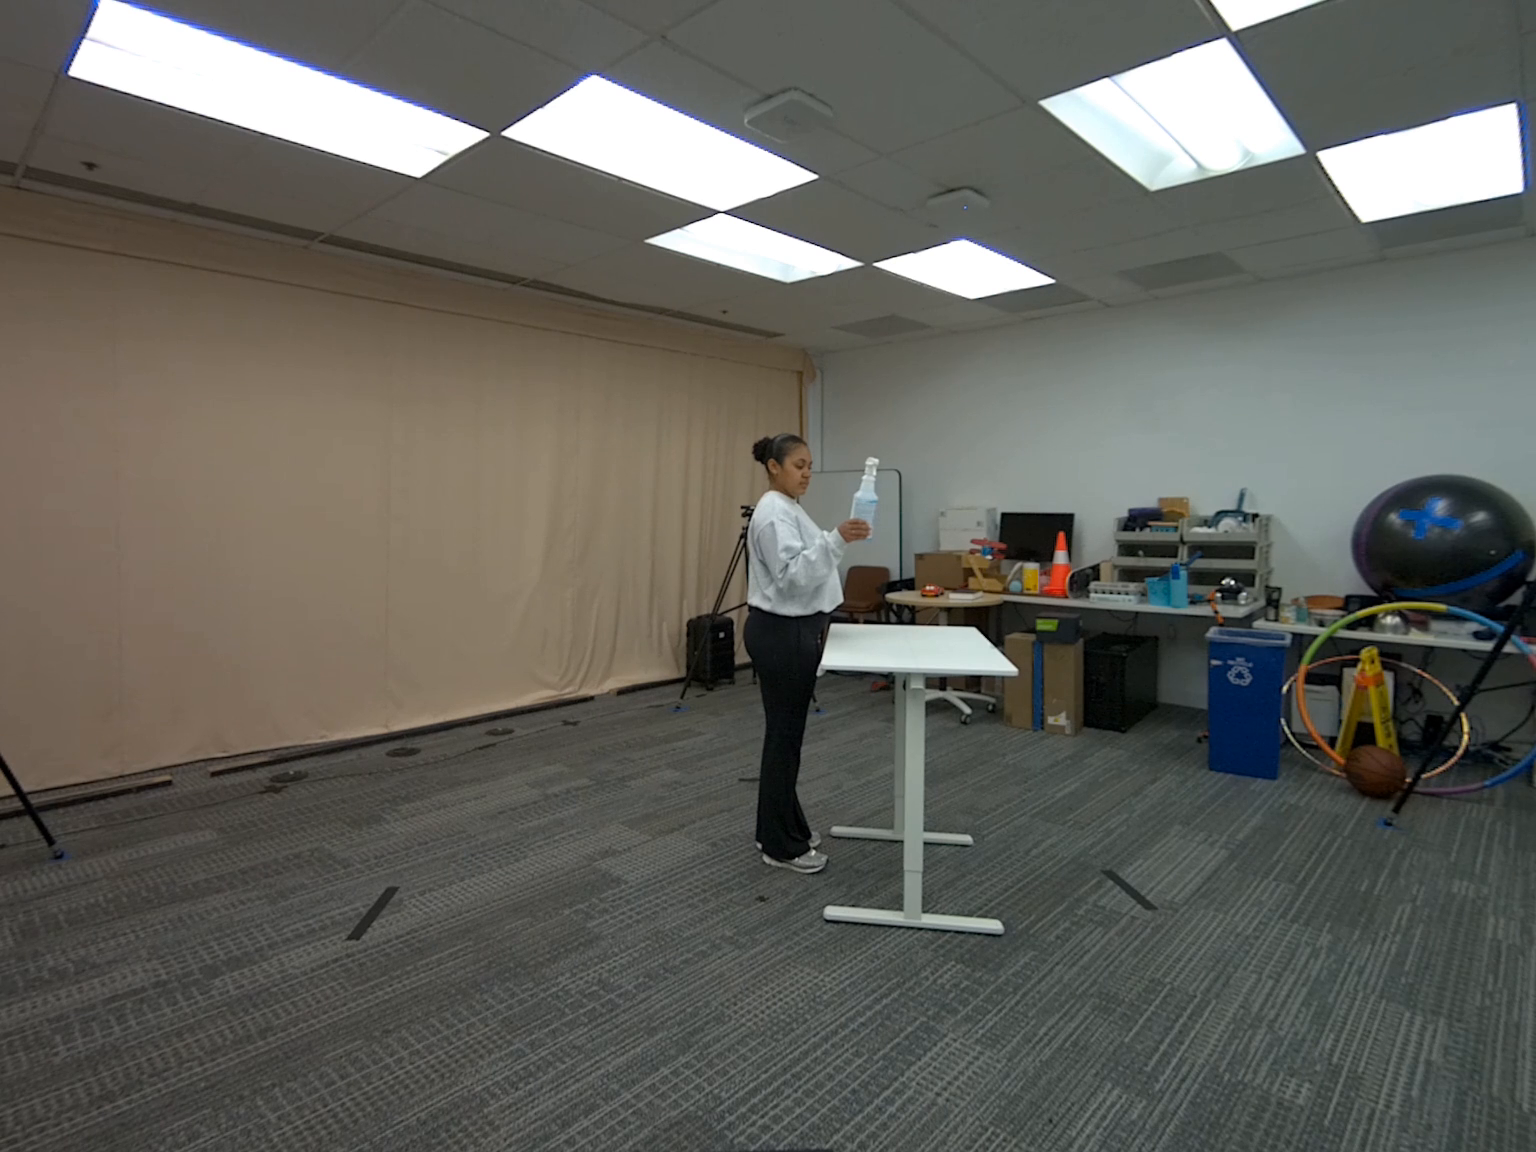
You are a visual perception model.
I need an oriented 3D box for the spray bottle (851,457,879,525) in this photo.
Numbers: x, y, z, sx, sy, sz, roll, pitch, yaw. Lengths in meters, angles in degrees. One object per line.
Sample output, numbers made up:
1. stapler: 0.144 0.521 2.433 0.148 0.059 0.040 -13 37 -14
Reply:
1. spray bottle: 0.355 -0.270 2.962 0.088 0.295 0.089 10 16 11
